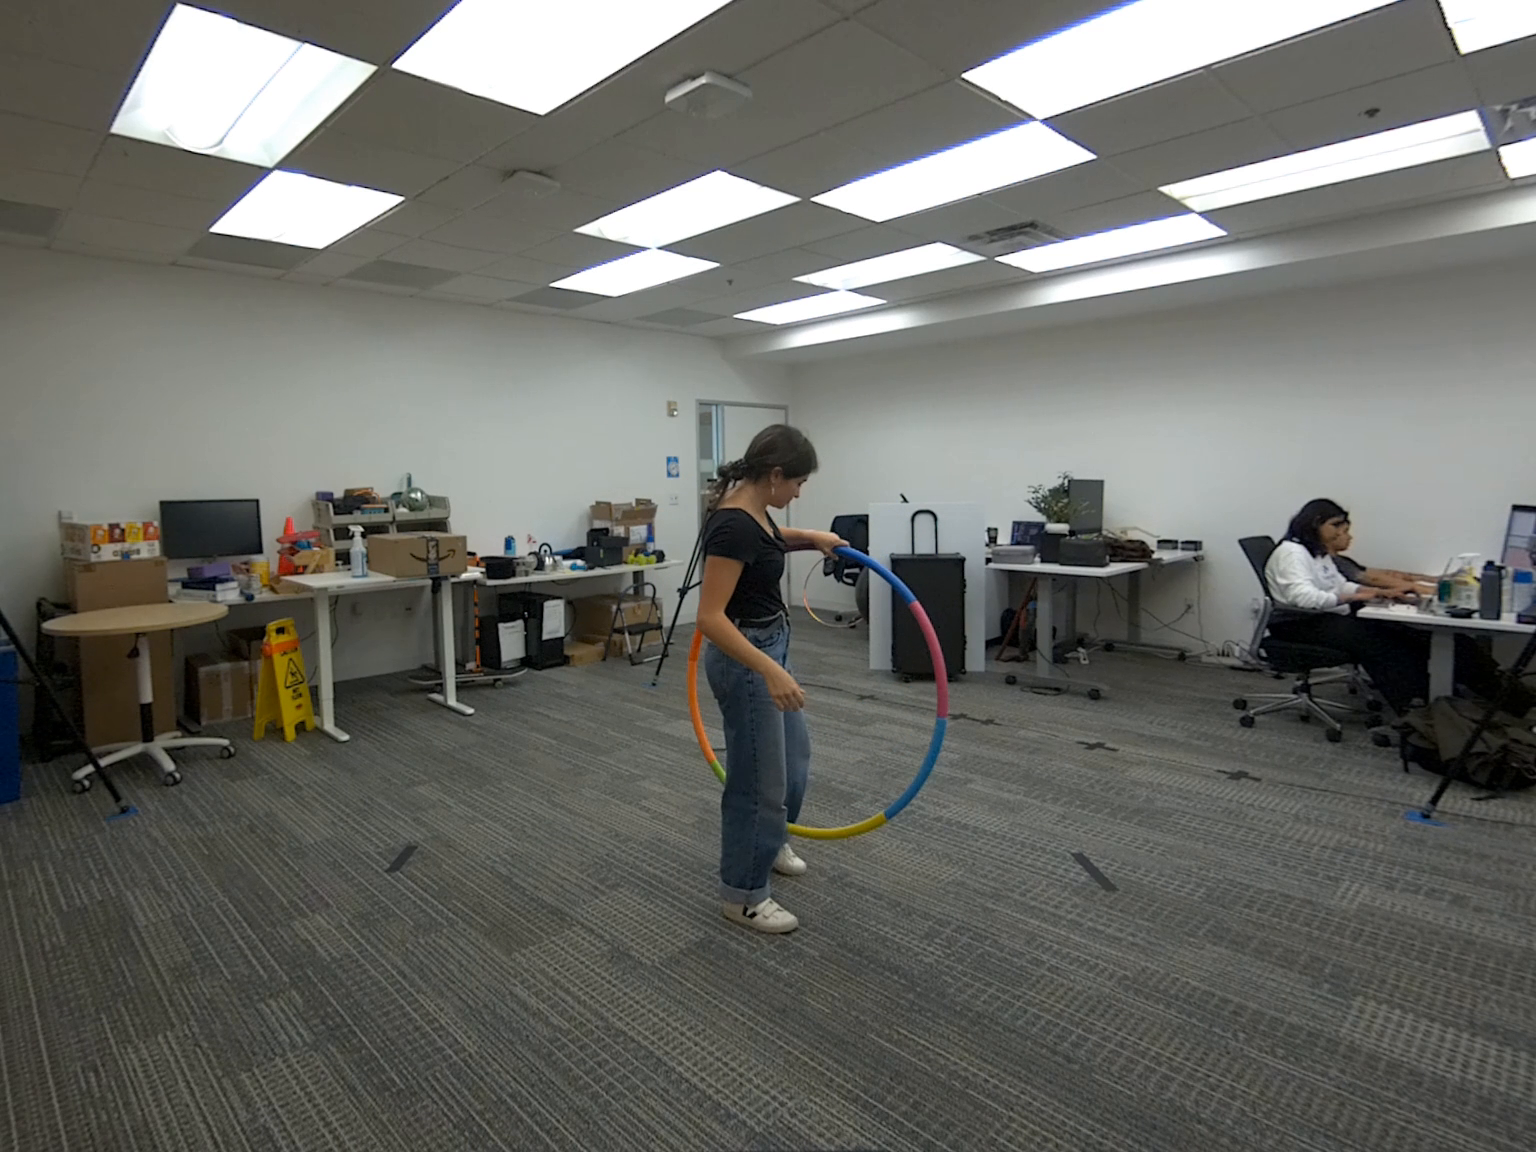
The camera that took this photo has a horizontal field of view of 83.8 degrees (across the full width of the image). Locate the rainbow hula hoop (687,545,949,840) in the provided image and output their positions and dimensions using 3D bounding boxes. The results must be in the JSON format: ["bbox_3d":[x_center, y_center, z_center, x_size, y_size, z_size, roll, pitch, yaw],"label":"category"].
[{"bbox_3d":[0.124,0.369,2.892,1.006,0.981,0.034,2,-4,33],"label":"rainbow hula hoop"}]
